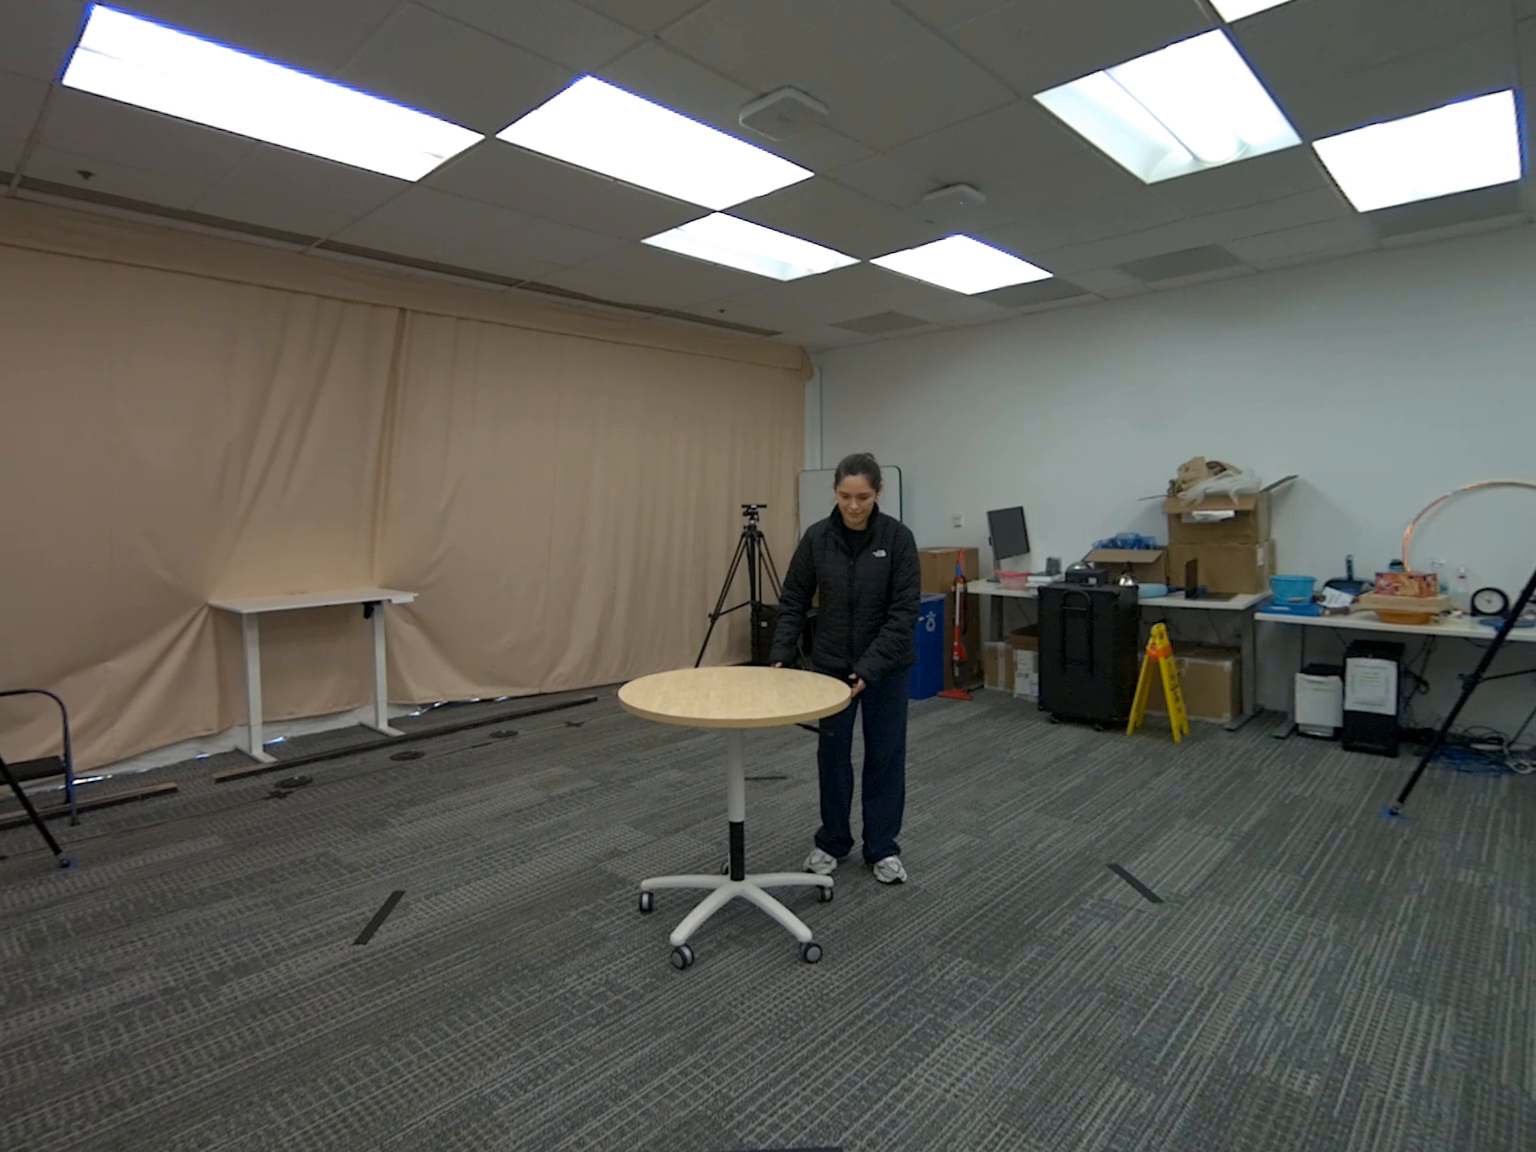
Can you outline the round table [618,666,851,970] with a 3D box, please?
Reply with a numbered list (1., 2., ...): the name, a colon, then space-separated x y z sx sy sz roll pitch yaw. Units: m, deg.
1. round table: -0.084 0.765 2.793 0.784 0.785 0.788 -1 4 -2
